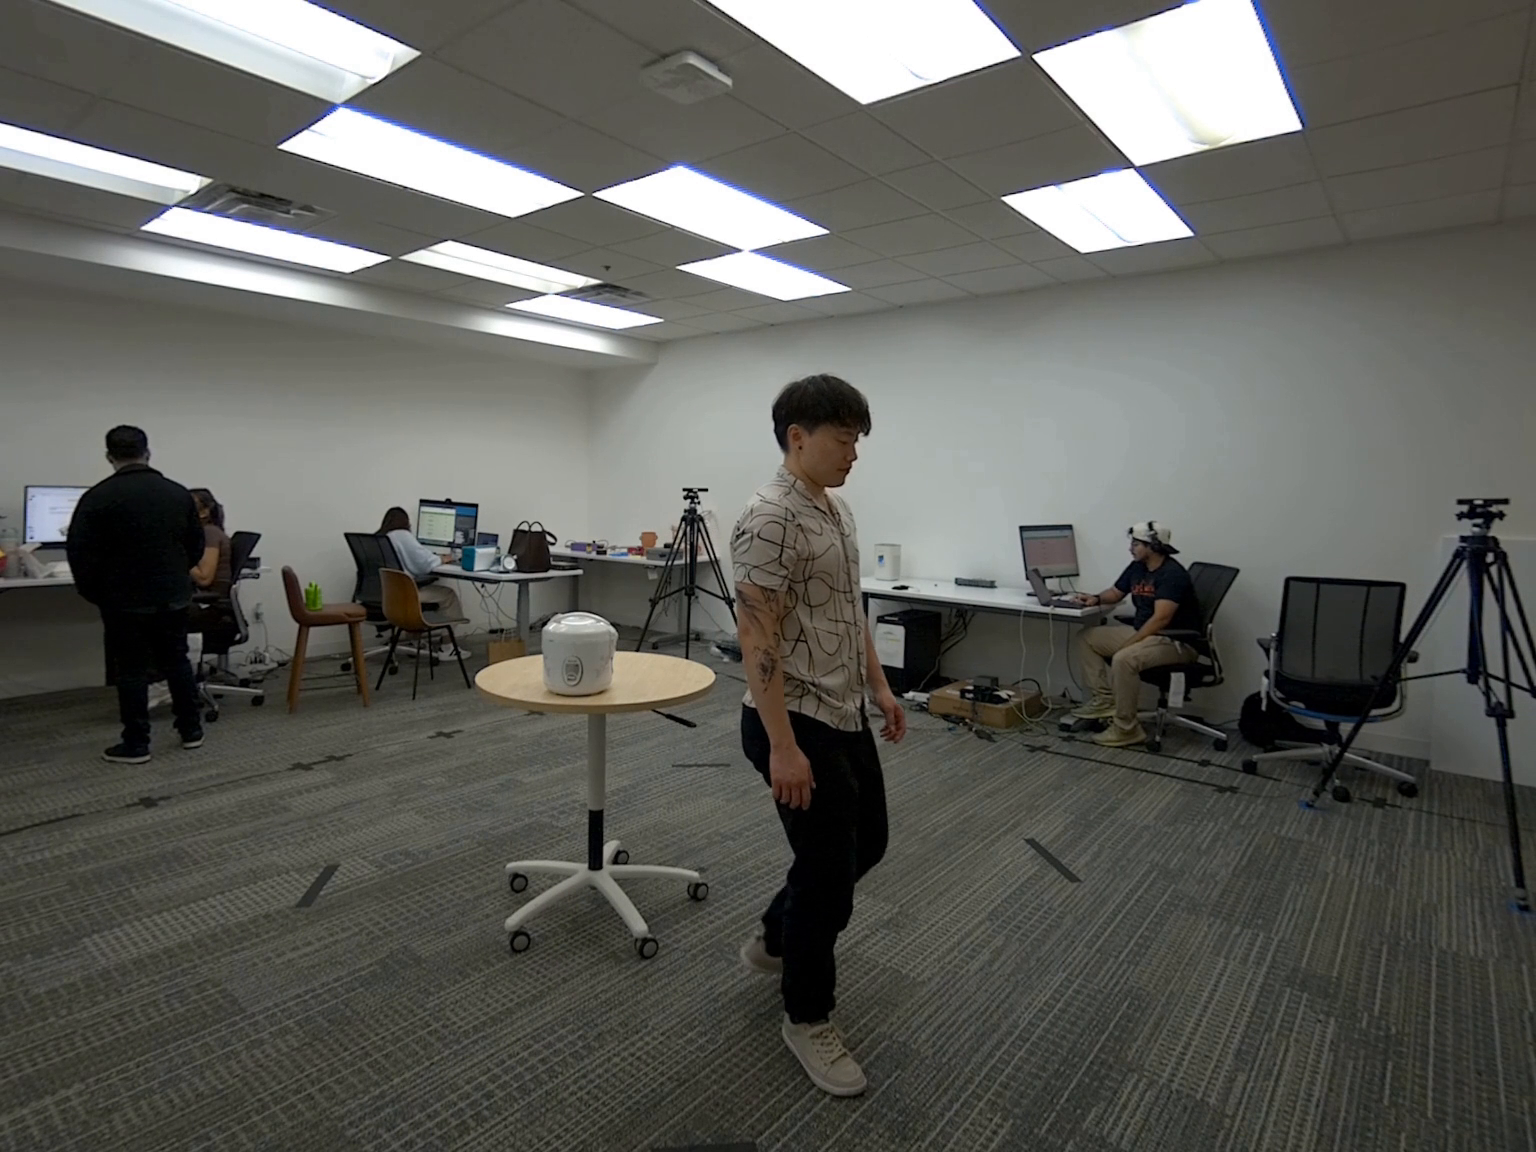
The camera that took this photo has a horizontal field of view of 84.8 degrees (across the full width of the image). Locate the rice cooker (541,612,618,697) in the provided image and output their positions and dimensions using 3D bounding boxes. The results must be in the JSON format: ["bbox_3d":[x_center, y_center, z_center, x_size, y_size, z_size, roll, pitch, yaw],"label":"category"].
[{"bbox_3d":[-0.575,0.223,2.539,0.220,0.232,0.218,1,4,-2],"label":"rice cooker"}]
